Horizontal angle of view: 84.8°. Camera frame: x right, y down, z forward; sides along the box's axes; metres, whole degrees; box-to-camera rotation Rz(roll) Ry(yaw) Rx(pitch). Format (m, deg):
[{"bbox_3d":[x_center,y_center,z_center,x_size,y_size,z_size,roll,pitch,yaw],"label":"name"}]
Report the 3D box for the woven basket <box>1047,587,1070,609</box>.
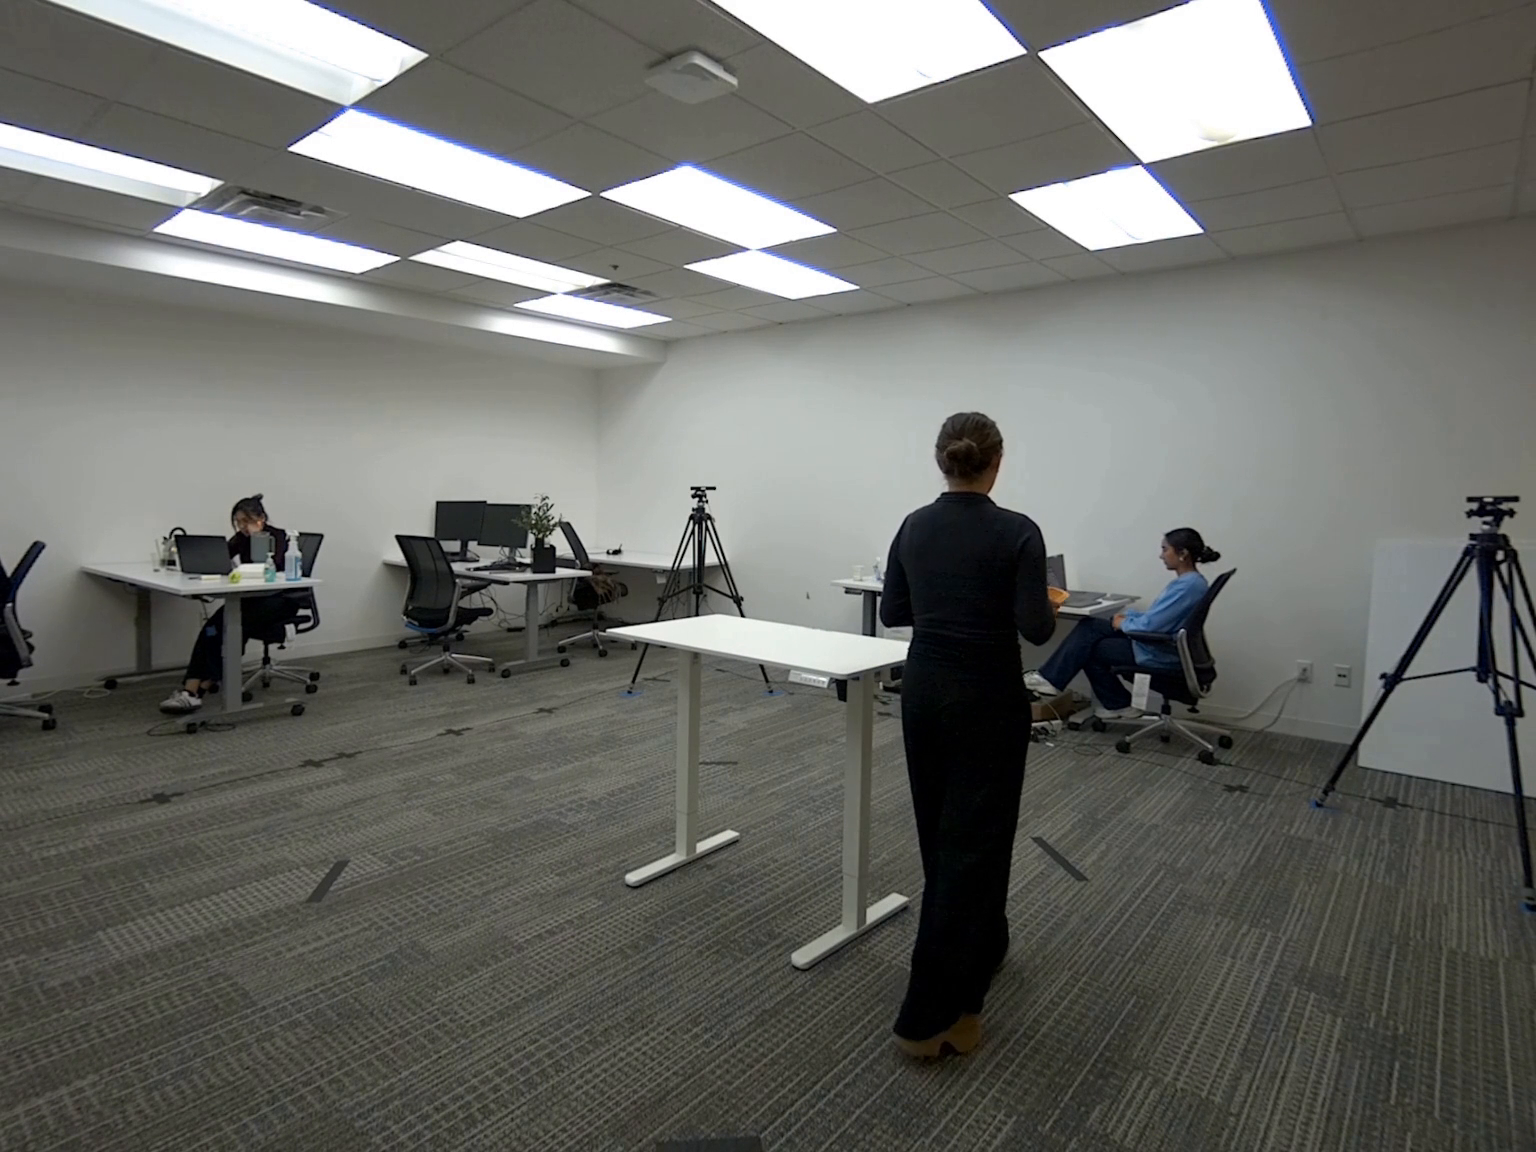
[{"bbox_3d":[0.751,0.091,2.496,0.261,0.073,0.341,5,11,39],"label":"woven basket"}]
